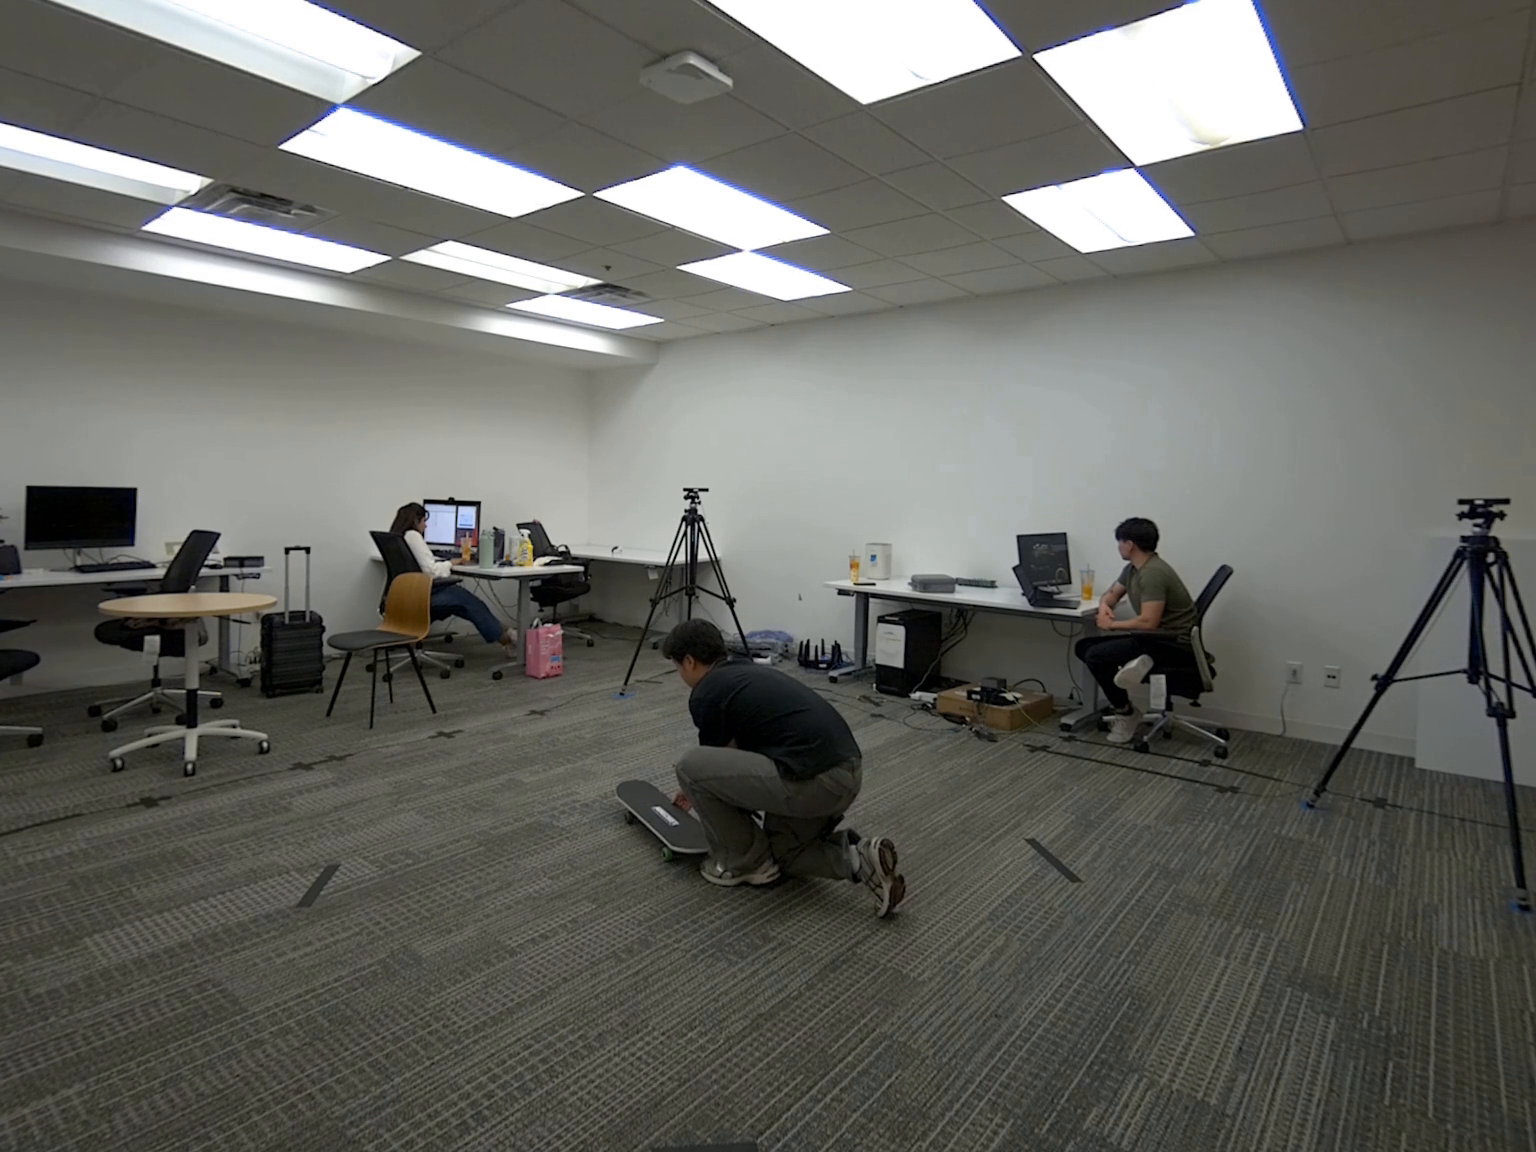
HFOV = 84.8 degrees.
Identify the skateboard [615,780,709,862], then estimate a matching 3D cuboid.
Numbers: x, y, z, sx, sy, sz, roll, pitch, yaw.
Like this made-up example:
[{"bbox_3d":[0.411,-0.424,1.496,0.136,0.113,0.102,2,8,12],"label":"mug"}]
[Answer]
[{"bbox_3d":[-0.420,0.982,3.383,0.188,0.110,0.809,-3,7,-30],"label":"skateboard"}]
